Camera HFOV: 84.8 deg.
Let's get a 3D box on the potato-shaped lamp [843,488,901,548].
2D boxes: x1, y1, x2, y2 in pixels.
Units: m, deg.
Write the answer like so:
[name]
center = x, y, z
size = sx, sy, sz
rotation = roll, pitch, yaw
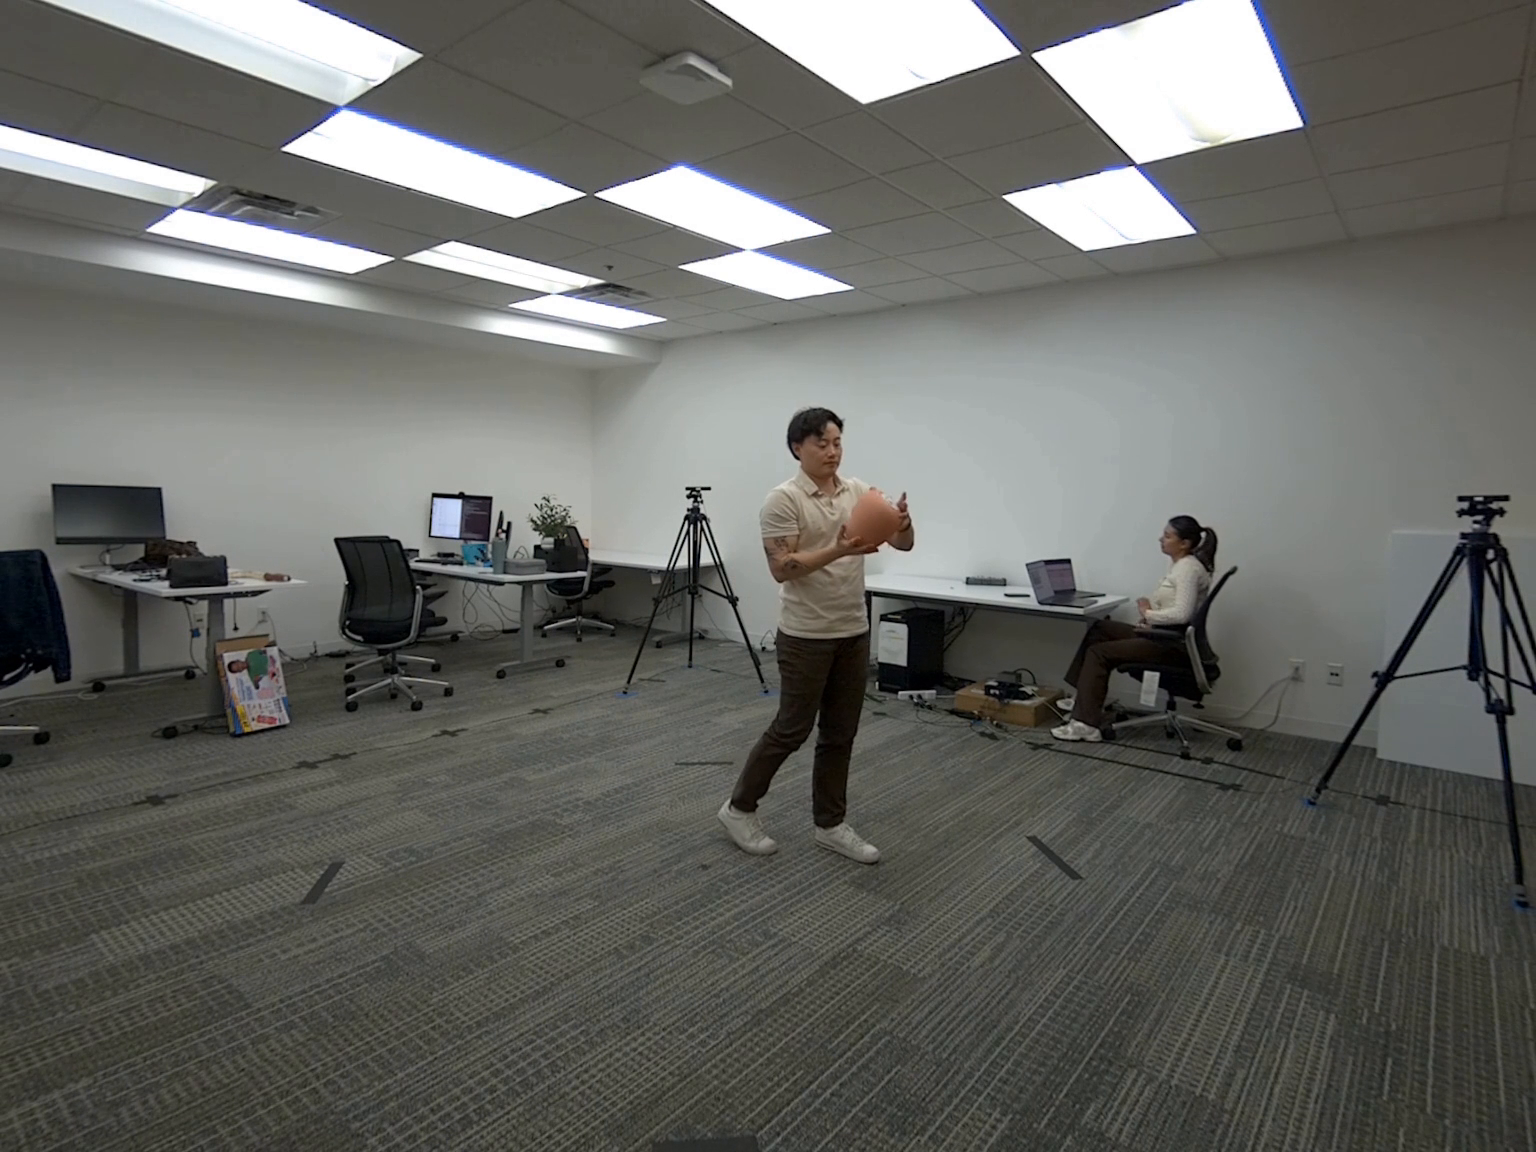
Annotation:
[potato-shaped lamp]
center = 0.346, -0.192, 2.944
size = 0.199, 0.178, 0.158
rotation = -37, -39, 19
